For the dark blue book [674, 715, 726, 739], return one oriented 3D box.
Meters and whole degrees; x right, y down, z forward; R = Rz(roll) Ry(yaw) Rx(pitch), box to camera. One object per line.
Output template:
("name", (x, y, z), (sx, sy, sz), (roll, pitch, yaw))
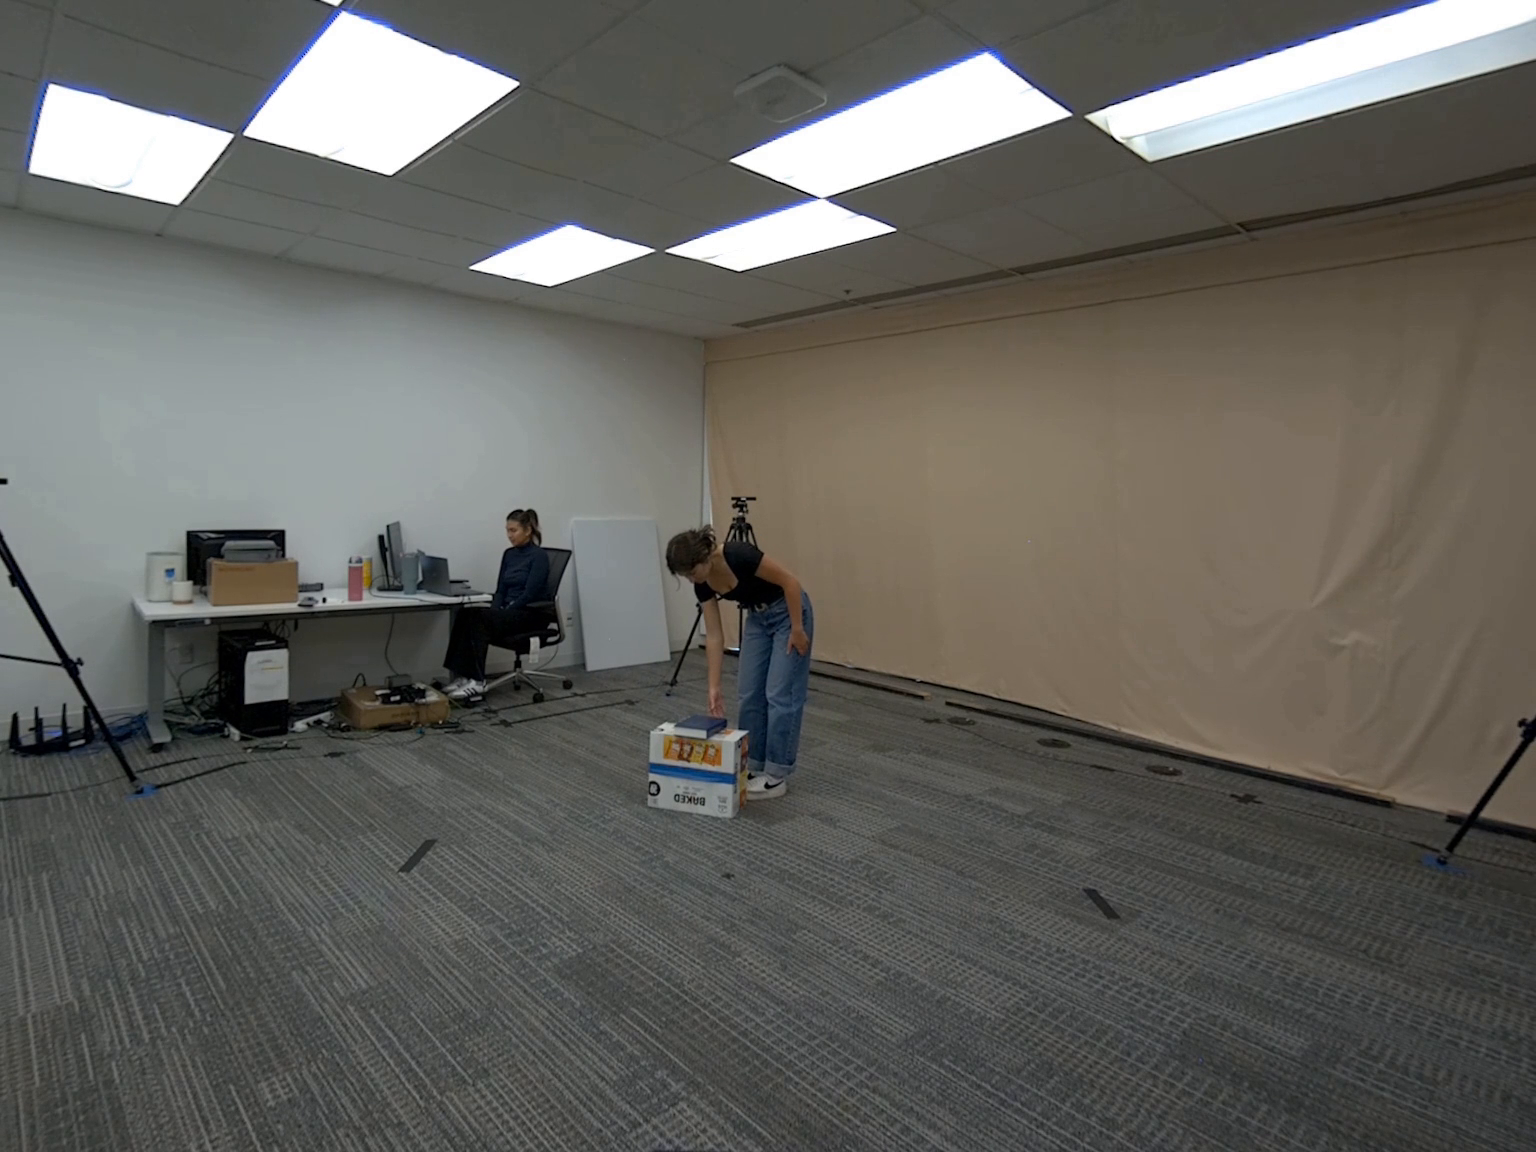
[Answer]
("dark blue book", (-0.312, 0.682, 3.812), (0.166, 0.045, 0.242), (3, 4, 19))
